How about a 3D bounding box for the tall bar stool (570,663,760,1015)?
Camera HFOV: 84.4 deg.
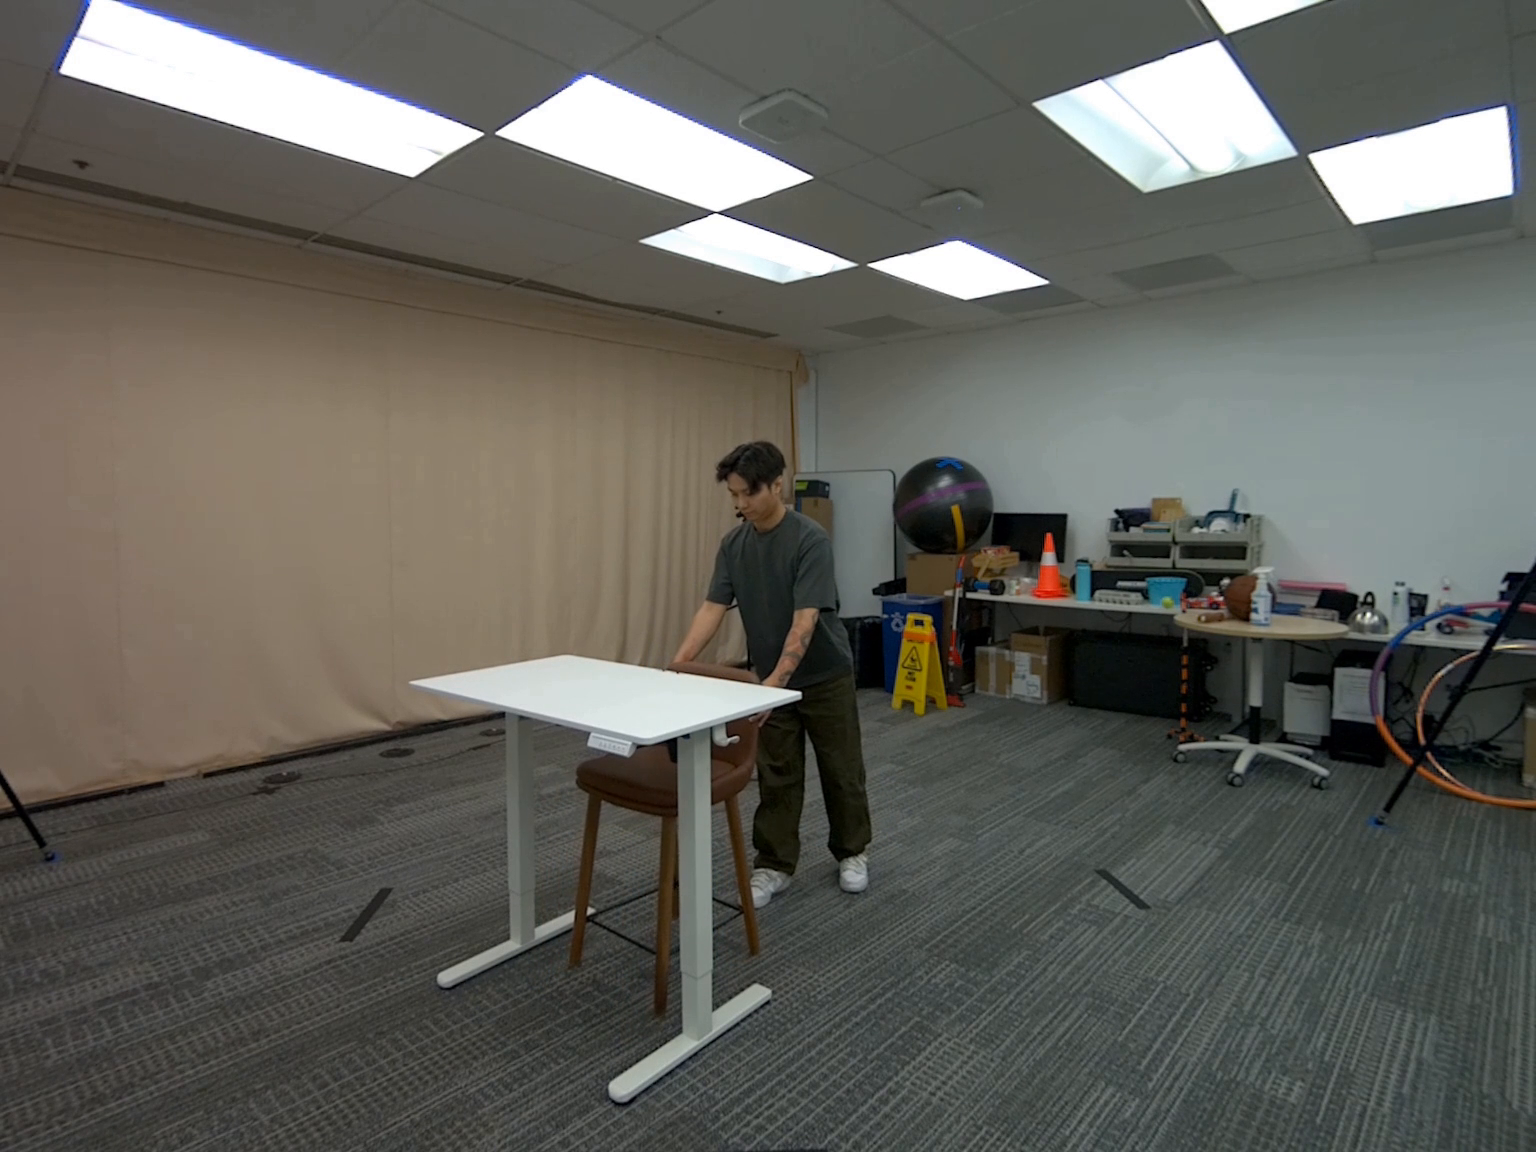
[{"bbox_3d":[-0.299,0.740,2.571,0.471,0.889,0.452,2,1,41],"label":"tall bar stool"}]
